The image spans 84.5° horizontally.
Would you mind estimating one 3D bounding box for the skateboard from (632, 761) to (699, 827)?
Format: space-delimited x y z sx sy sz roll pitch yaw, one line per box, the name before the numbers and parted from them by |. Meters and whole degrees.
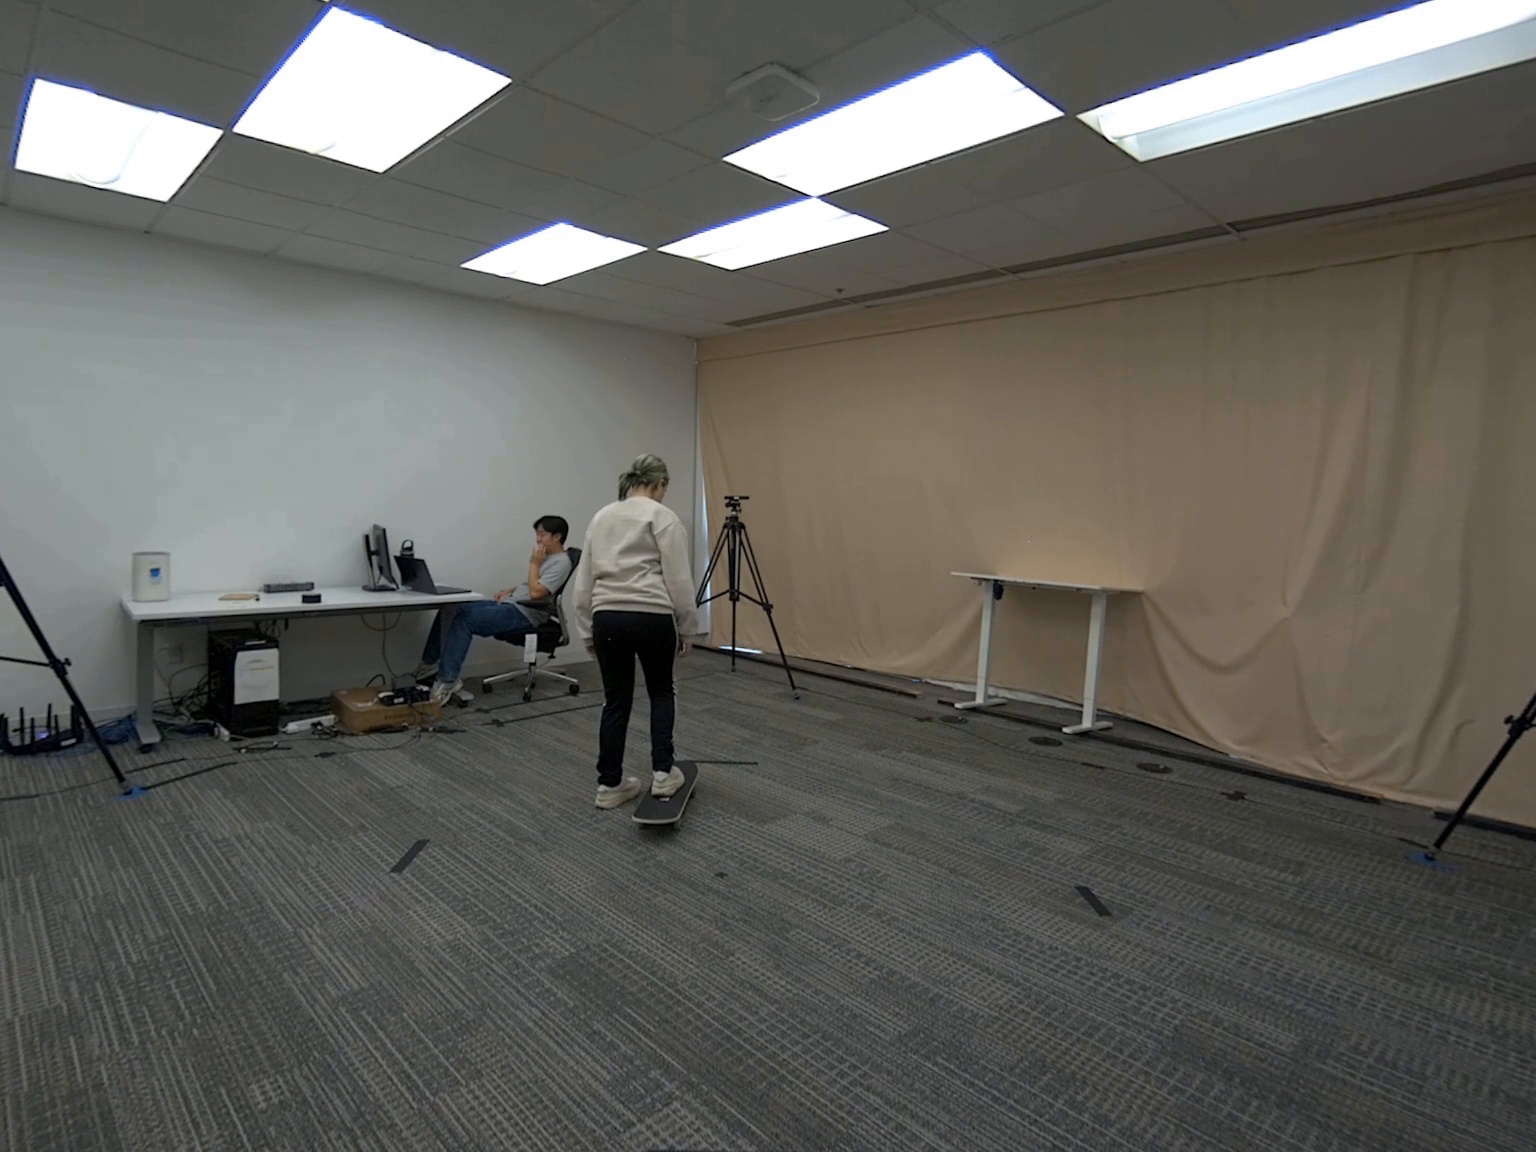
skateboard | -0.453 0.986 3.716 0.194 0.110 0.785 -1 5 4
